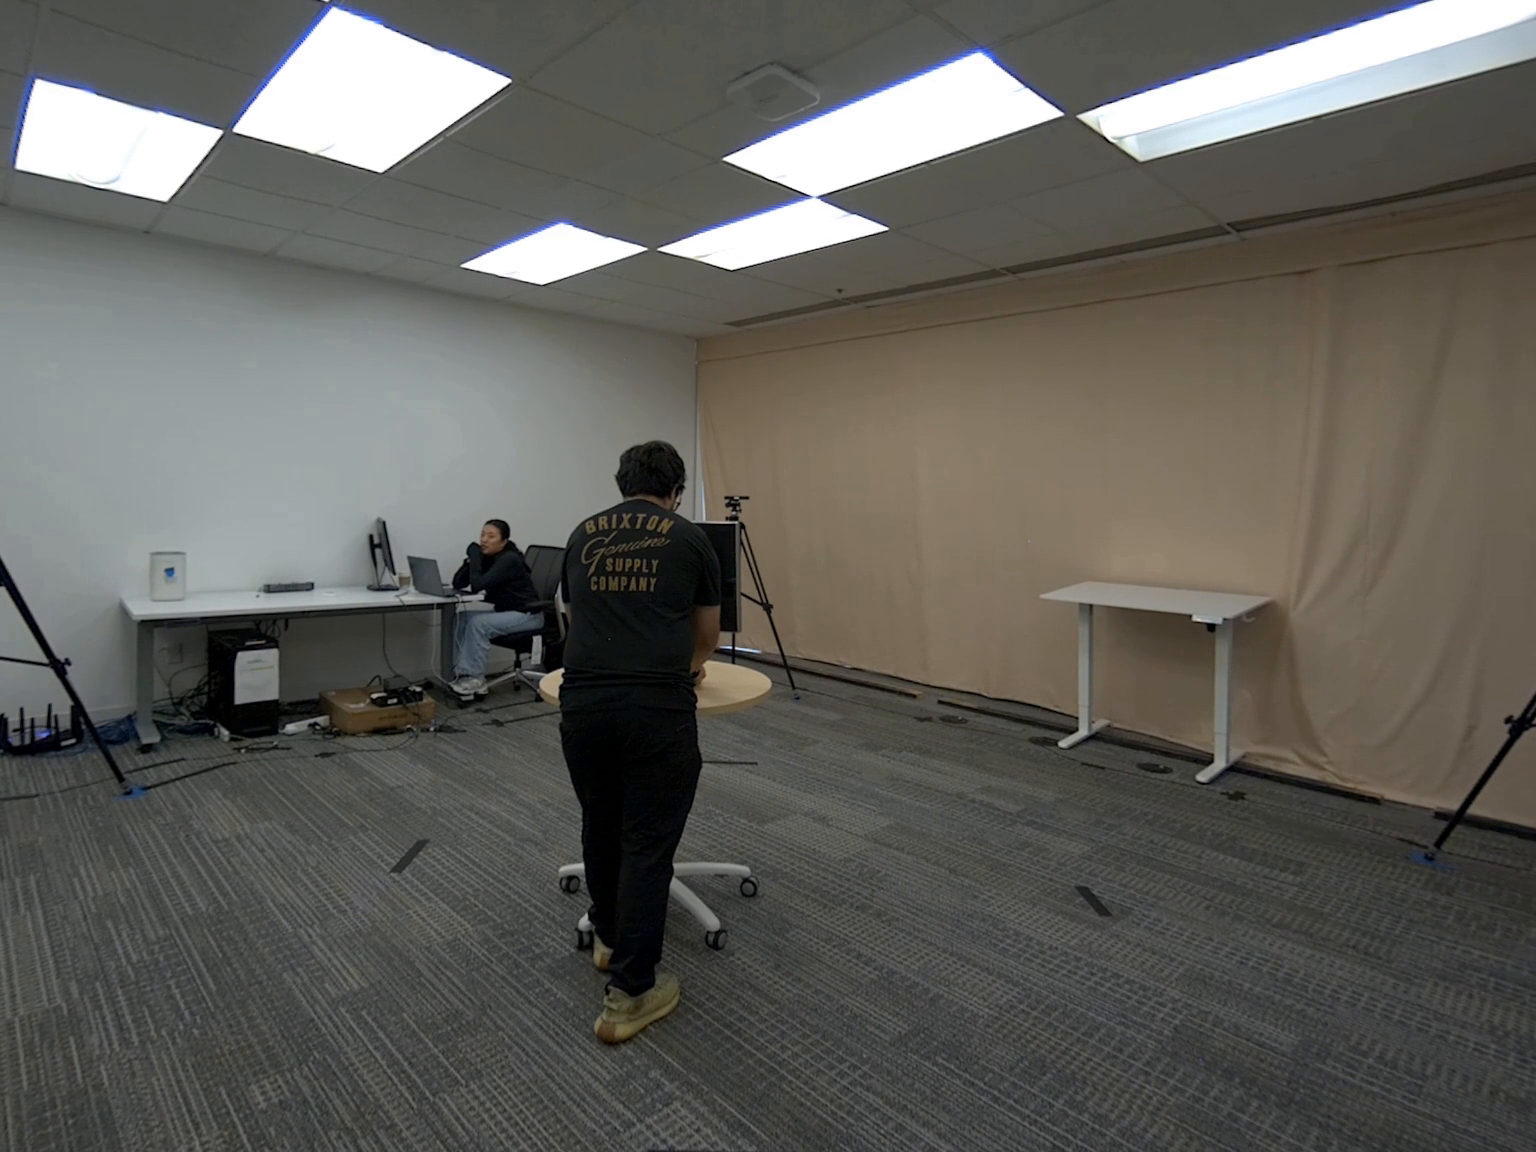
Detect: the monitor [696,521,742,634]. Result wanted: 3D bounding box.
[{"bbox_3d":[-0.380,0.090,2.766,0.575,0.552,0.207,3,4,23],"label":"monitor"}]
